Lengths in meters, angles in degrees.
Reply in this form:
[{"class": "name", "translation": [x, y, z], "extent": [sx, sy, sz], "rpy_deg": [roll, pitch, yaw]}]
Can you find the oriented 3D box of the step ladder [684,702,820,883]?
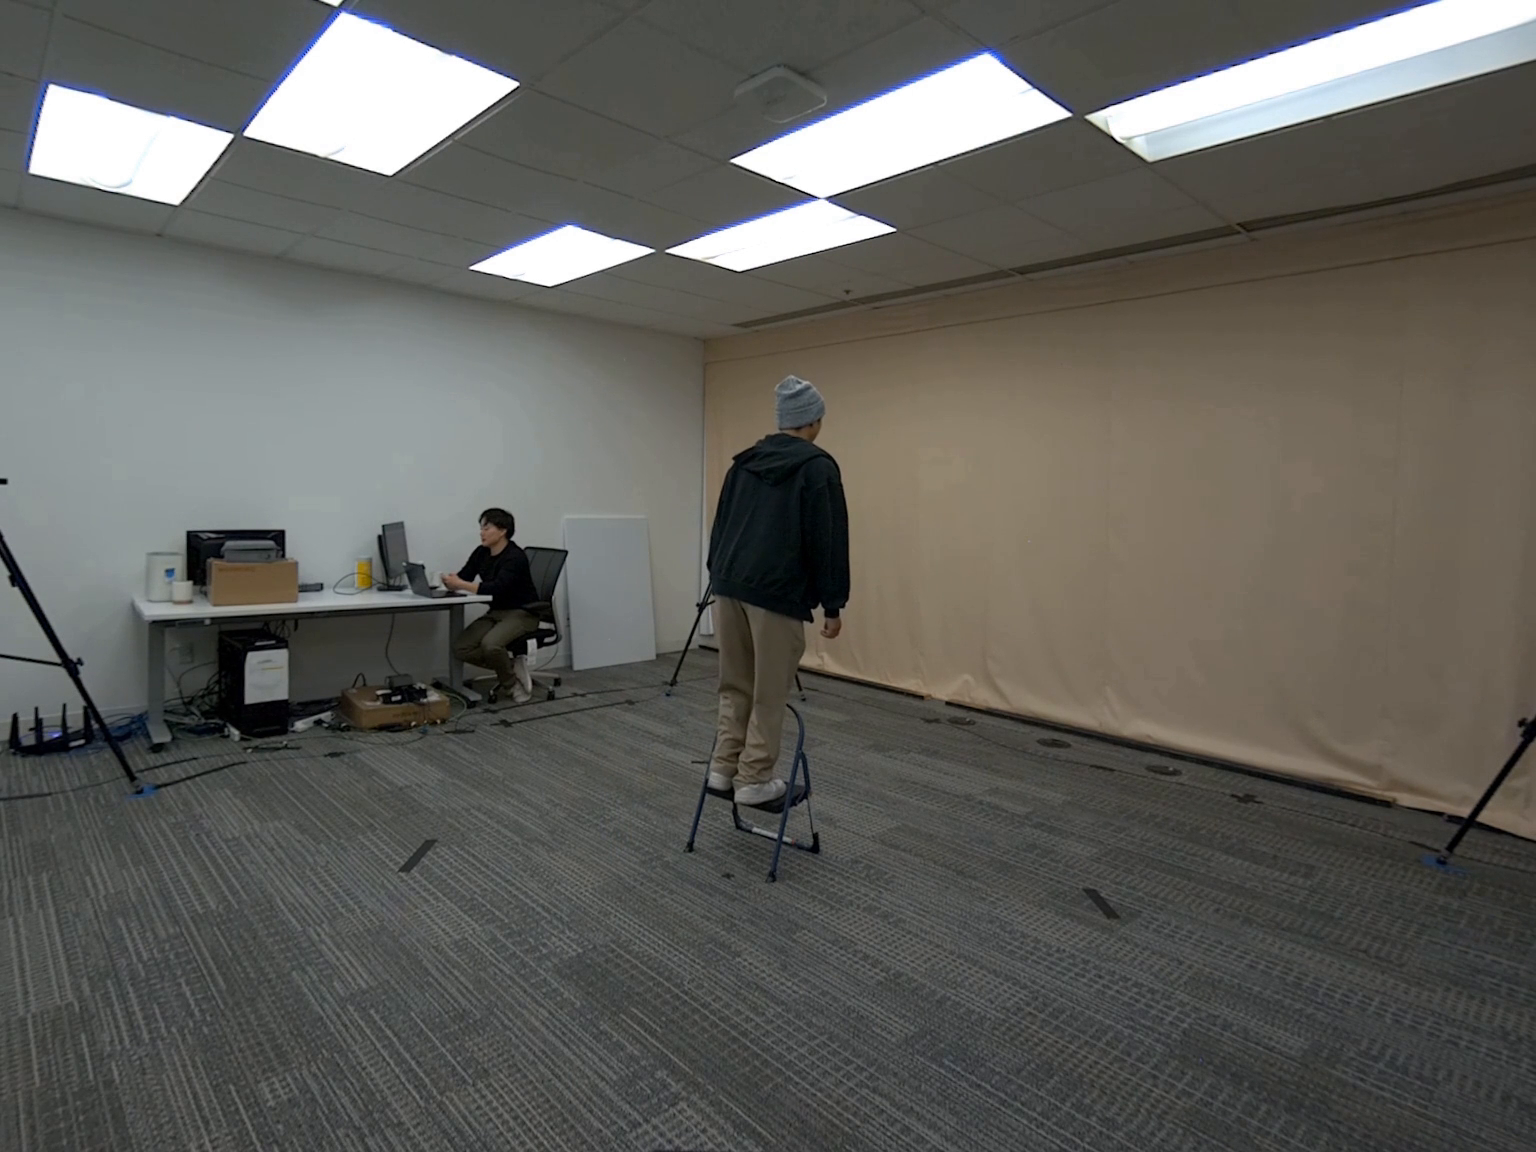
[{"class": "step ladder", "translation": [-0.052, 0.791, 3.307], "extent": [0.441, 0.605, 0.341], "rpy_deg": [4, 4, 36]}]
